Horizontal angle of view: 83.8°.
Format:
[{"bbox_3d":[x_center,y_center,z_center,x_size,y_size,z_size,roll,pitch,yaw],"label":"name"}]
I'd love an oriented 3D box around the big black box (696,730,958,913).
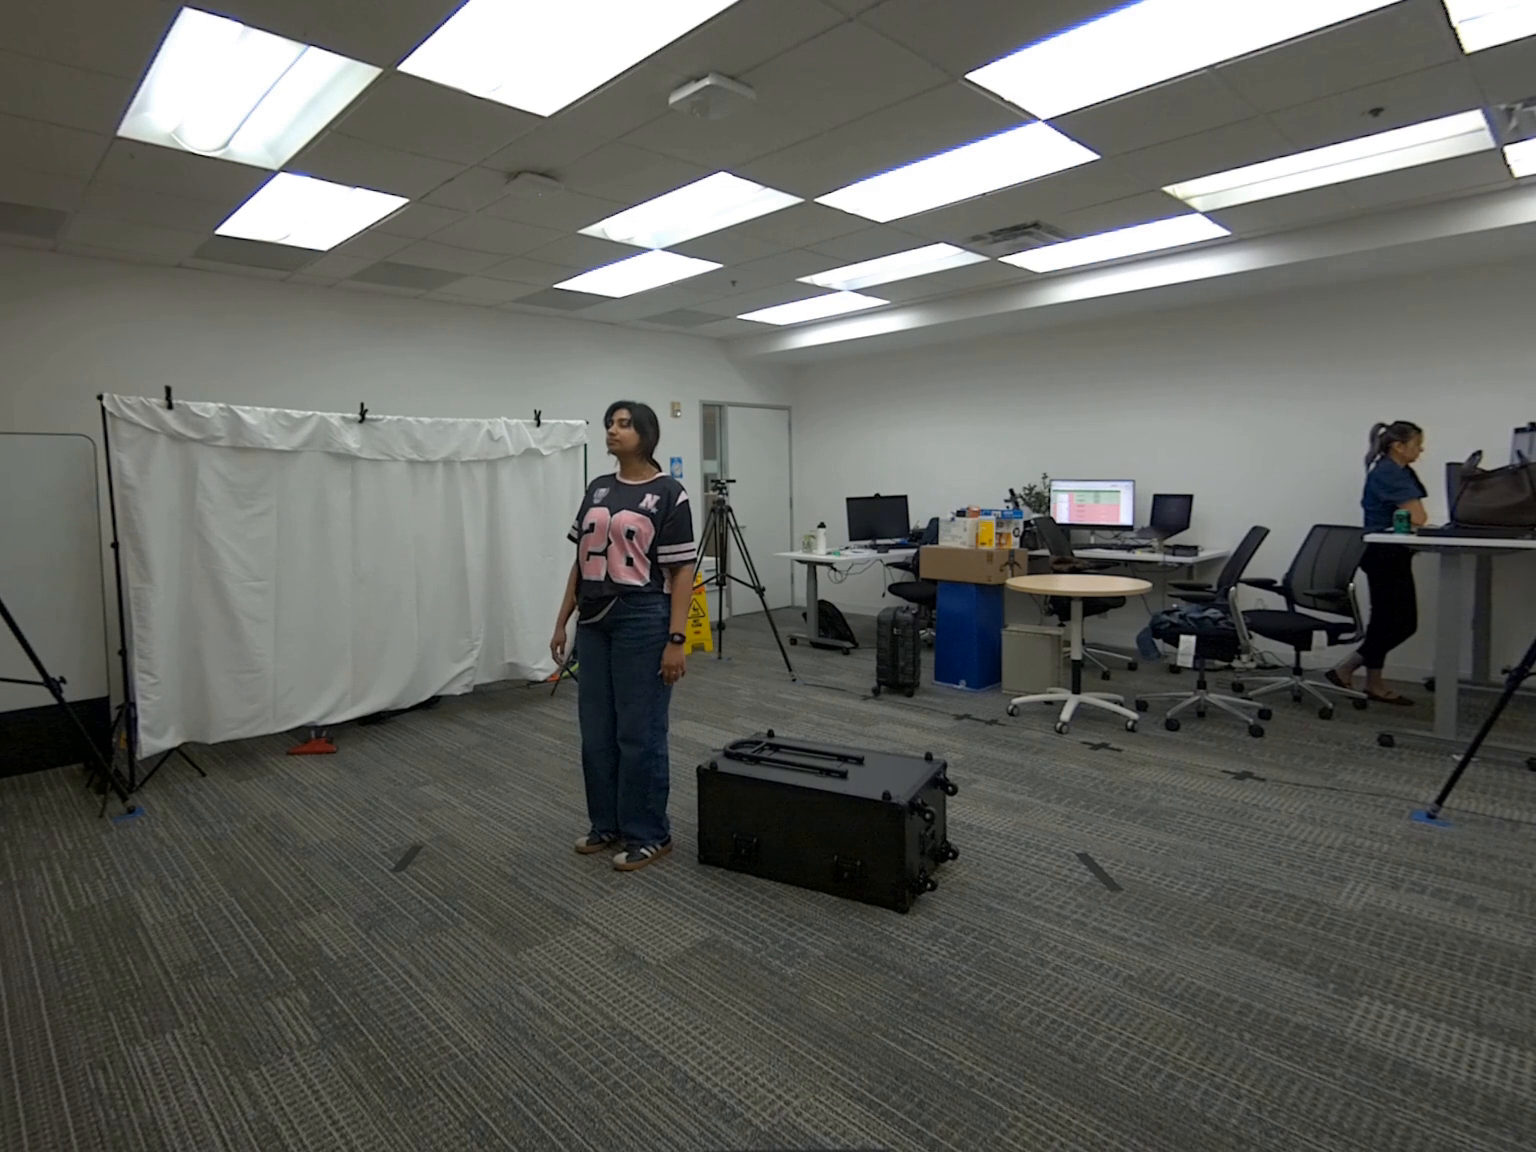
[{"bbox_3d":[0.235,0.856,3.106,0.891,0.384,0.512,2,5,29],"label":"big black box"}]
